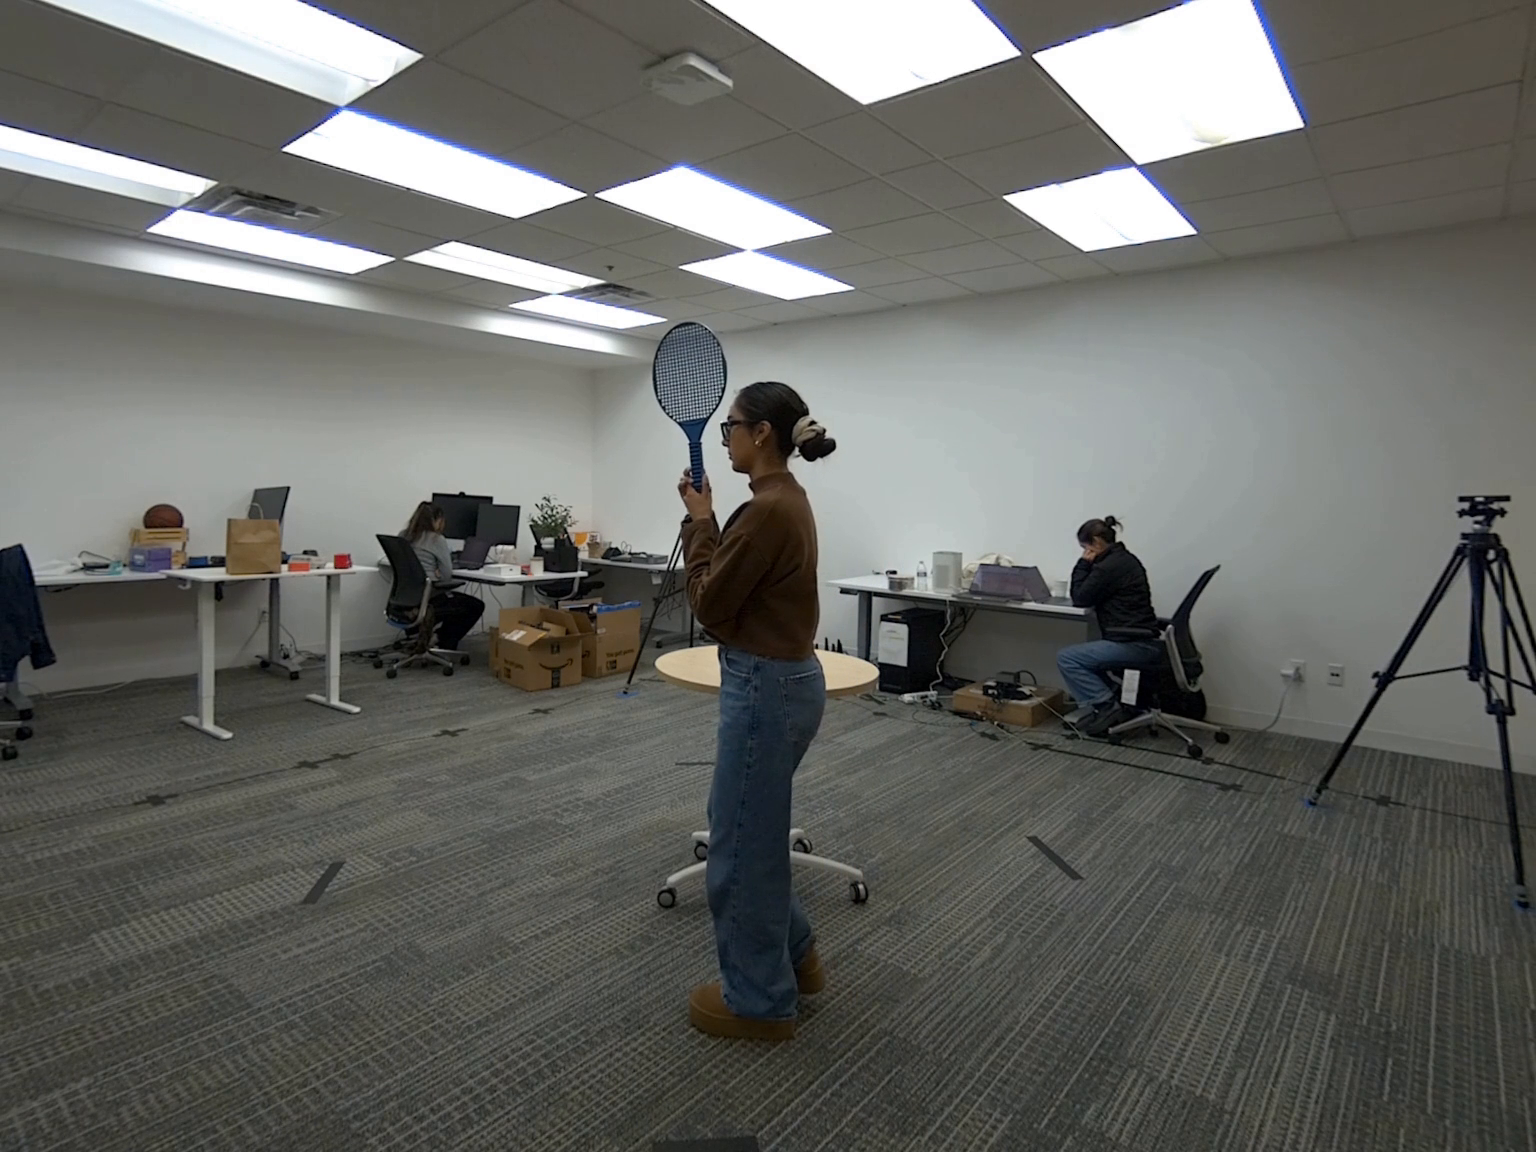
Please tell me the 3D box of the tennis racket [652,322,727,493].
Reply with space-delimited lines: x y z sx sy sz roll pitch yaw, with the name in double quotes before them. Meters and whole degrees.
"tennis racket" -0.203 -0.440 2.194 0.218 0.434 0.031 -8 -2 23
